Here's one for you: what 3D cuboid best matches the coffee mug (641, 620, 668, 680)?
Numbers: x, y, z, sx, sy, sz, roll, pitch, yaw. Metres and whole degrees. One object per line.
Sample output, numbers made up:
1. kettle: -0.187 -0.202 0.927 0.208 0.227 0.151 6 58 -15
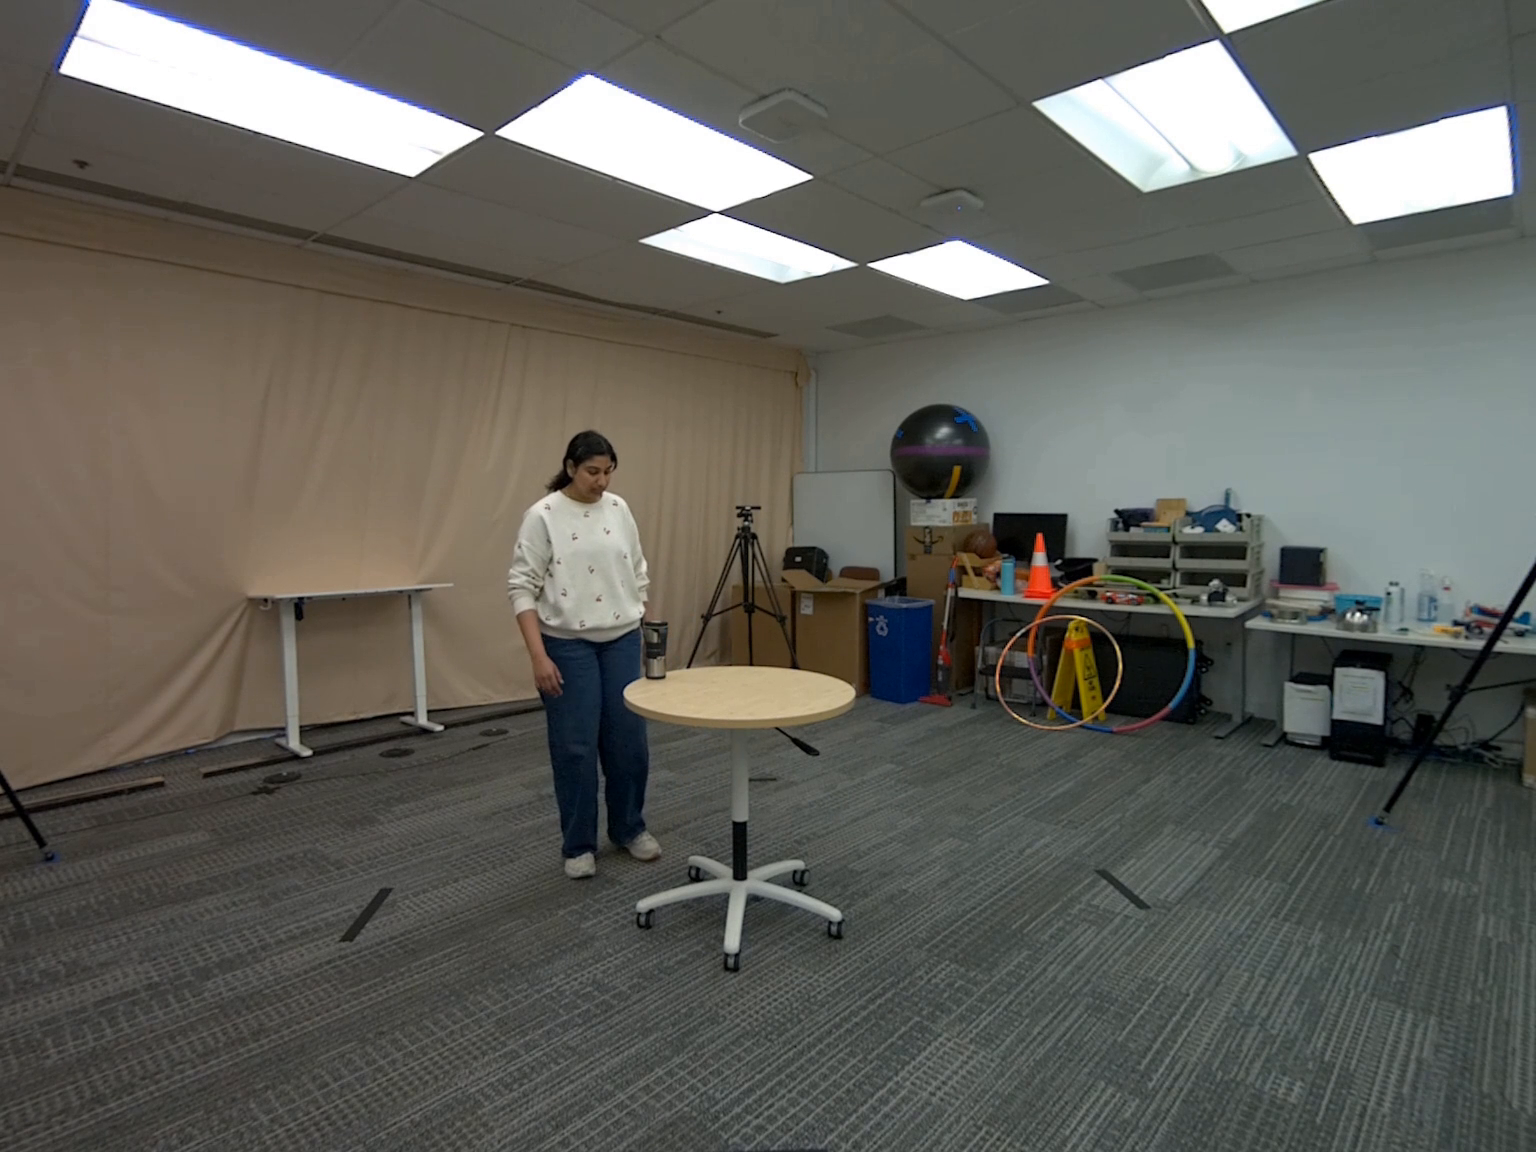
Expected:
1. coffee mug: -0.395 0.263 2.950 0.088 0.203 0.122 4 0 -2
